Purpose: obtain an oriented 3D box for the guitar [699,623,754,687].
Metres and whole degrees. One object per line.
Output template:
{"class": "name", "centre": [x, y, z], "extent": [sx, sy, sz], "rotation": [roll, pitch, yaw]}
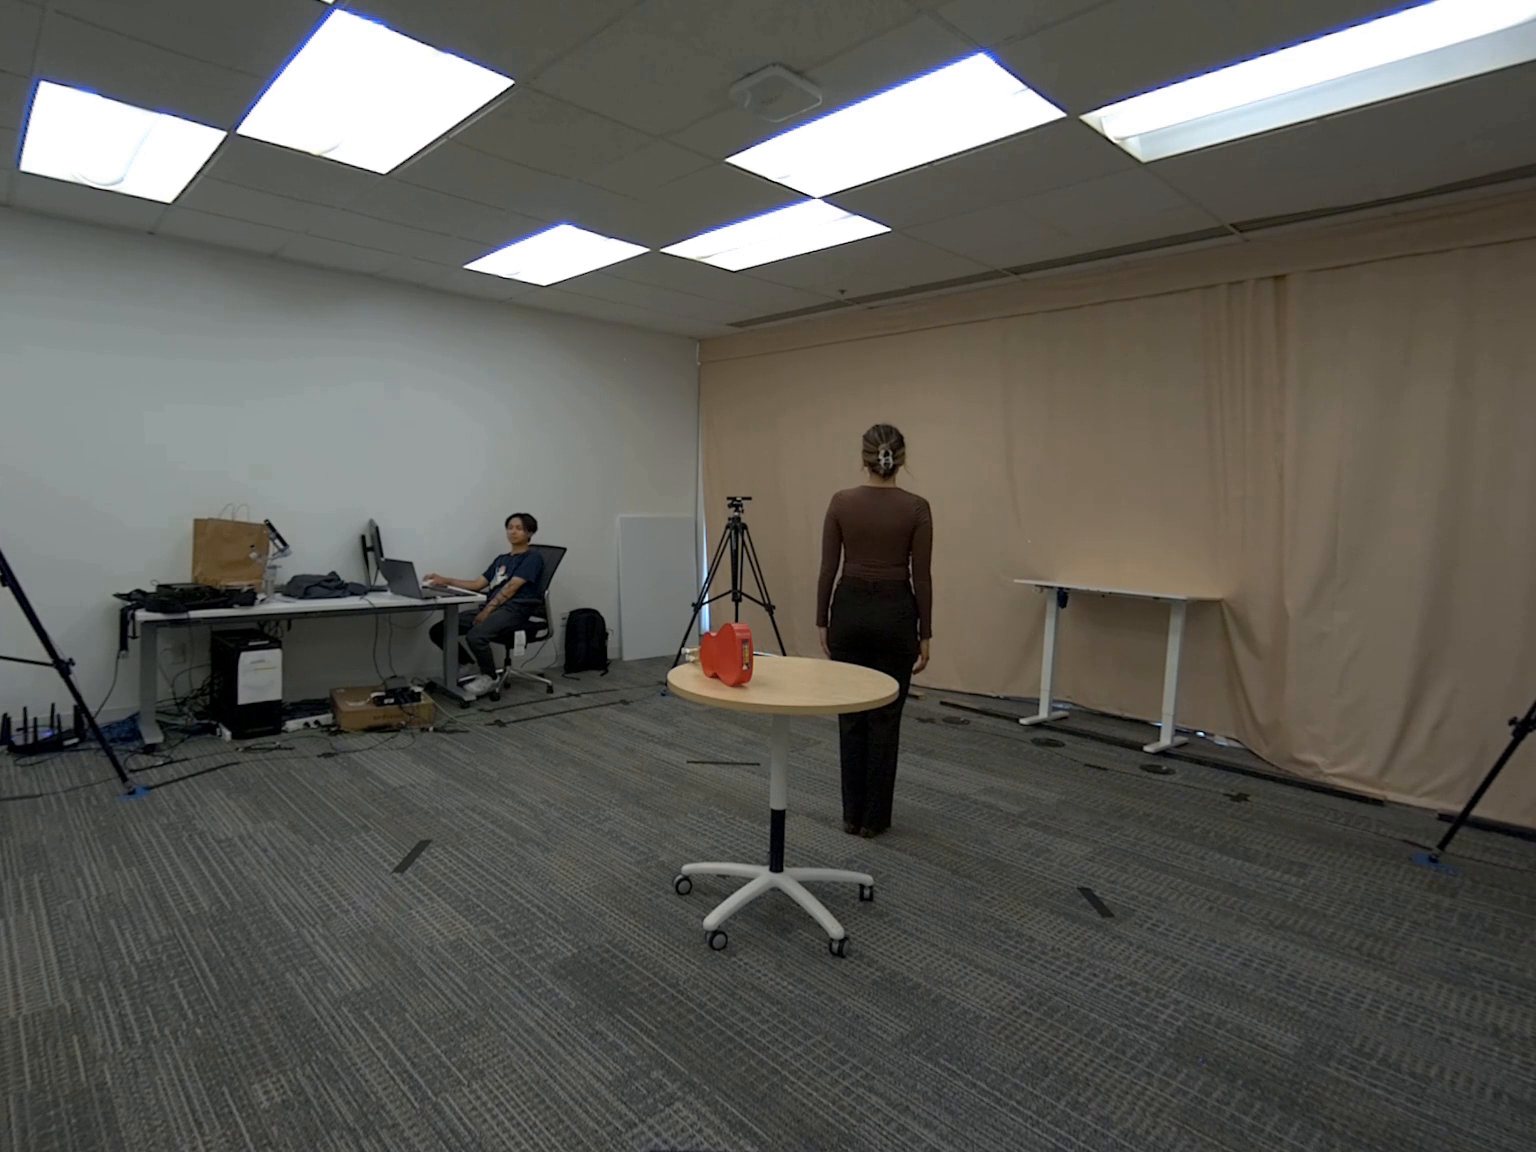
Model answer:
{"class": "guitar", "centre": [-0.192, 0.293, 2.823], "extent": [0.069, 0.195, 0.502], "rotation": [1, -14, -28]}
